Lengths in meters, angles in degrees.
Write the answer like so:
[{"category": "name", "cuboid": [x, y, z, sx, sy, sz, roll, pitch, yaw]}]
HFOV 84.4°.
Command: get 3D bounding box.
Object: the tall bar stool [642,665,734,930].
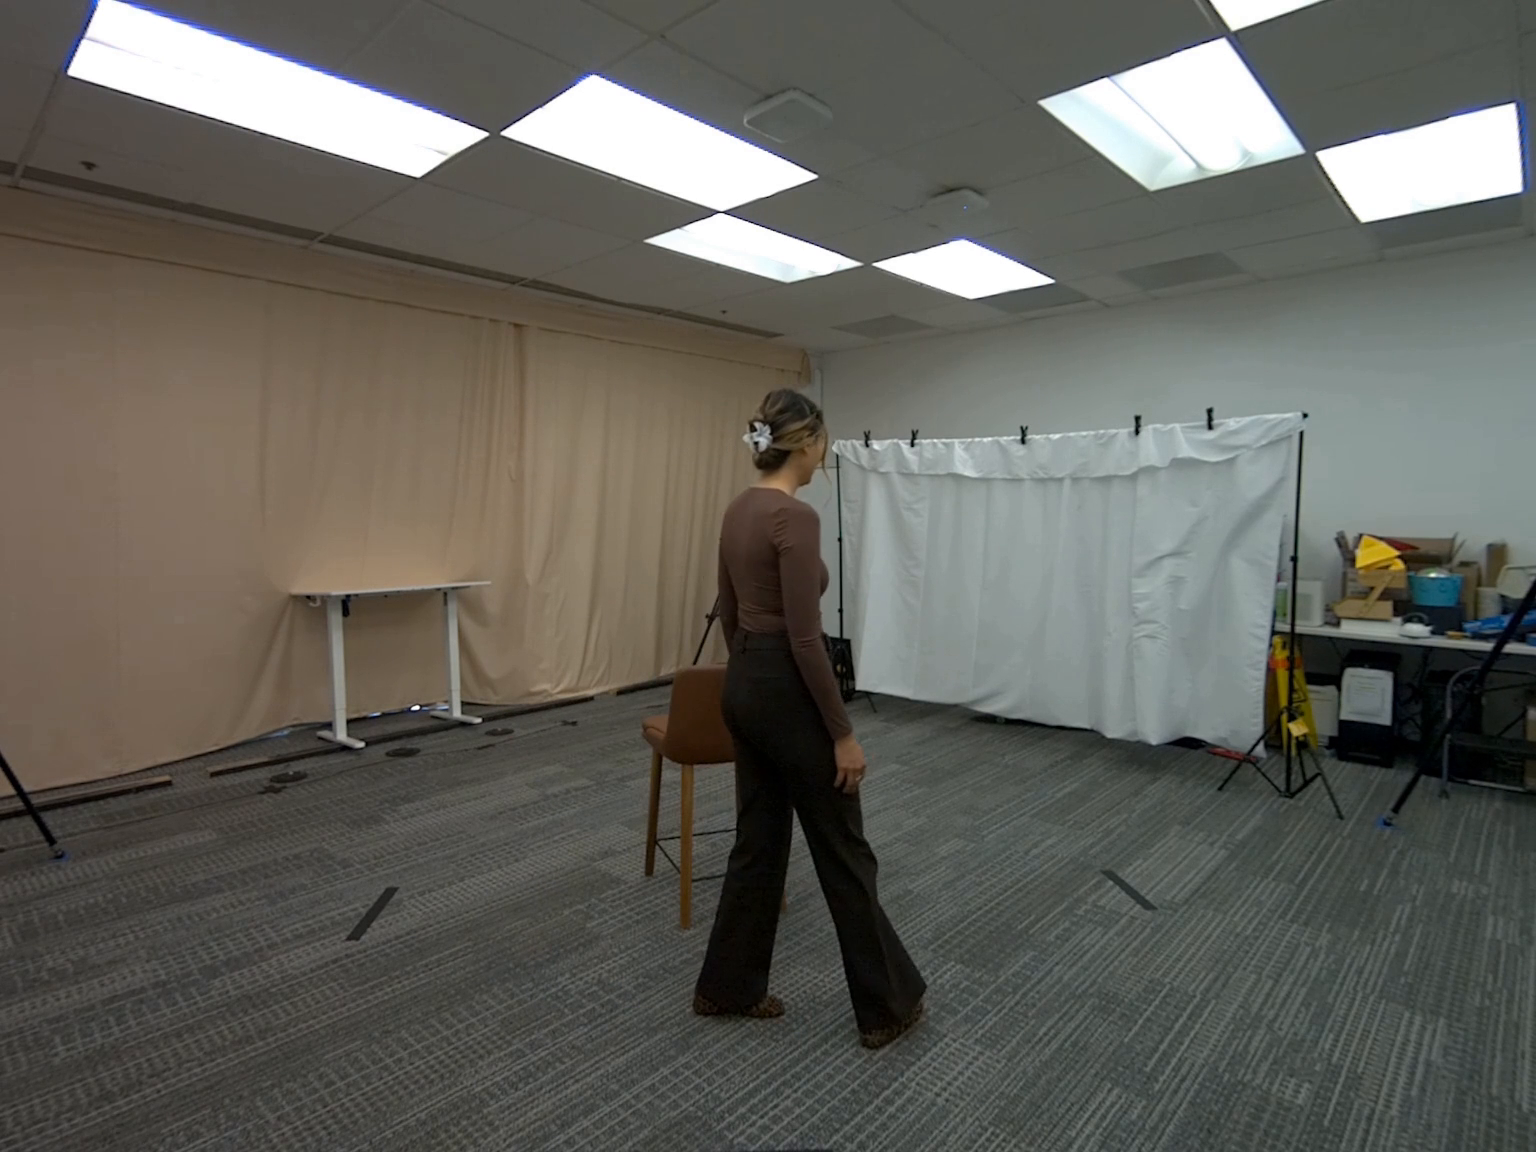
[{"category": "tall bar stool", "cuboid": [-0.194, 0.706, 3.007, 0.447, 0.887, 0.479, -1, 5, -21]}]
